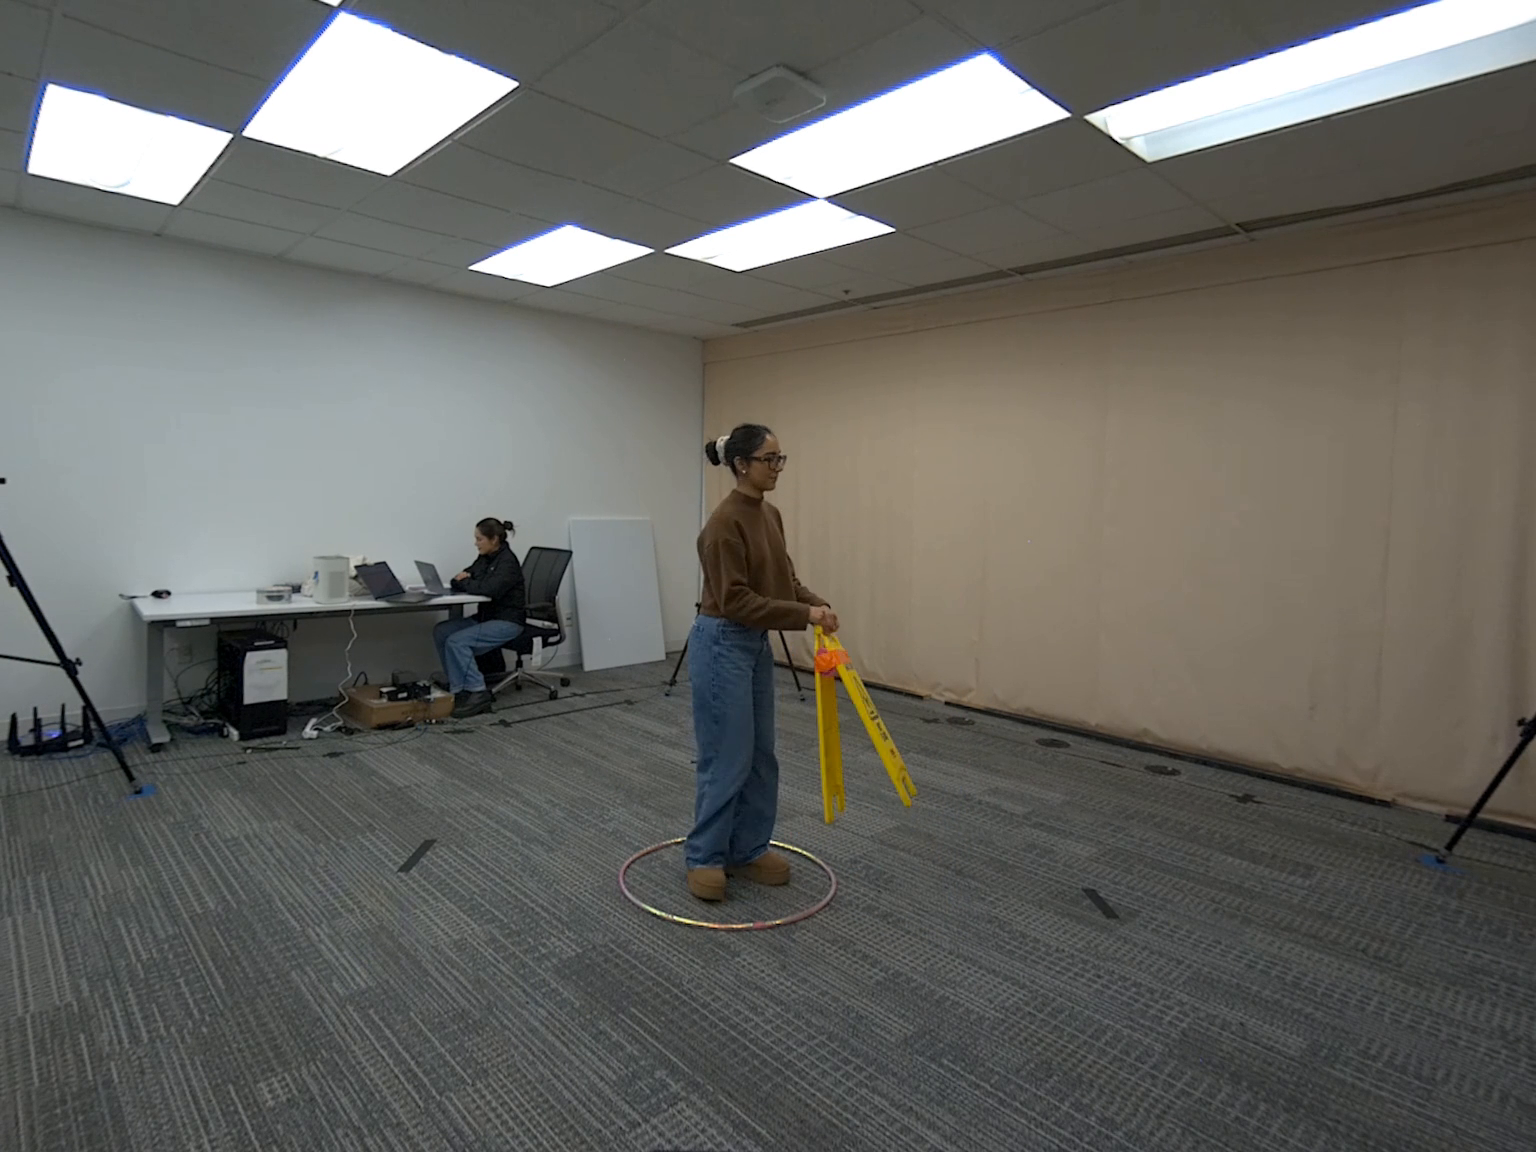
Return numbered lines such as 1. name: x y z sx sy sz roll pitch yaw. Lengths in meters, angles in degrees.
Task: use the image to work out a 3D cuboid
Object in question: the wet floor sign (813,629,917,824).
1. wet floor sign: 0.248 0.467 2.870 0.292 0.652 0.277 -17 -9 14
